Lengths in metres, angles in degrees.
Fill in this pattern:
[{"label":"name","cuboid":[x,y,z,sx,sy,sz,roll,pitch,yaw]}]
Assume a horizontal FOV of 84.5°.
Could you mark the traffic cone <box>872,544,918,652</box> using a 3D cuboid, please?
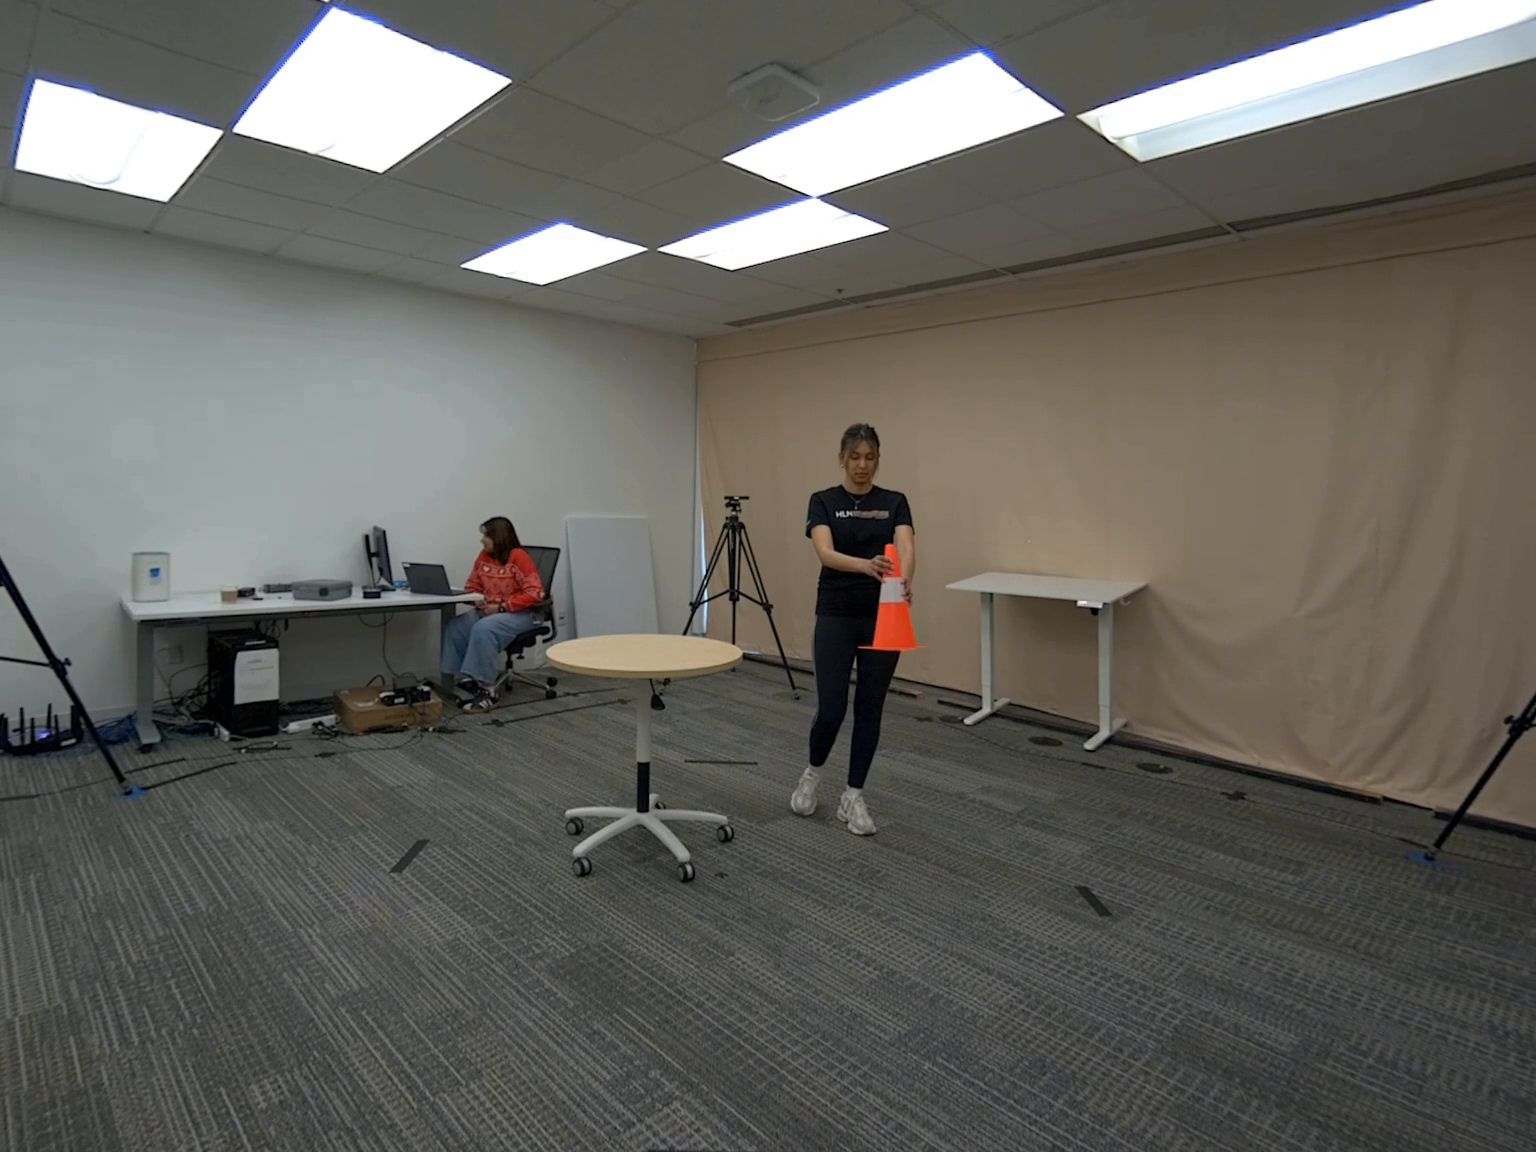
[{"label":"traffic cone","cuboid":[0.452,0.078,3.118,0.203,0.384,0.205,-2,-1,-12]}]
